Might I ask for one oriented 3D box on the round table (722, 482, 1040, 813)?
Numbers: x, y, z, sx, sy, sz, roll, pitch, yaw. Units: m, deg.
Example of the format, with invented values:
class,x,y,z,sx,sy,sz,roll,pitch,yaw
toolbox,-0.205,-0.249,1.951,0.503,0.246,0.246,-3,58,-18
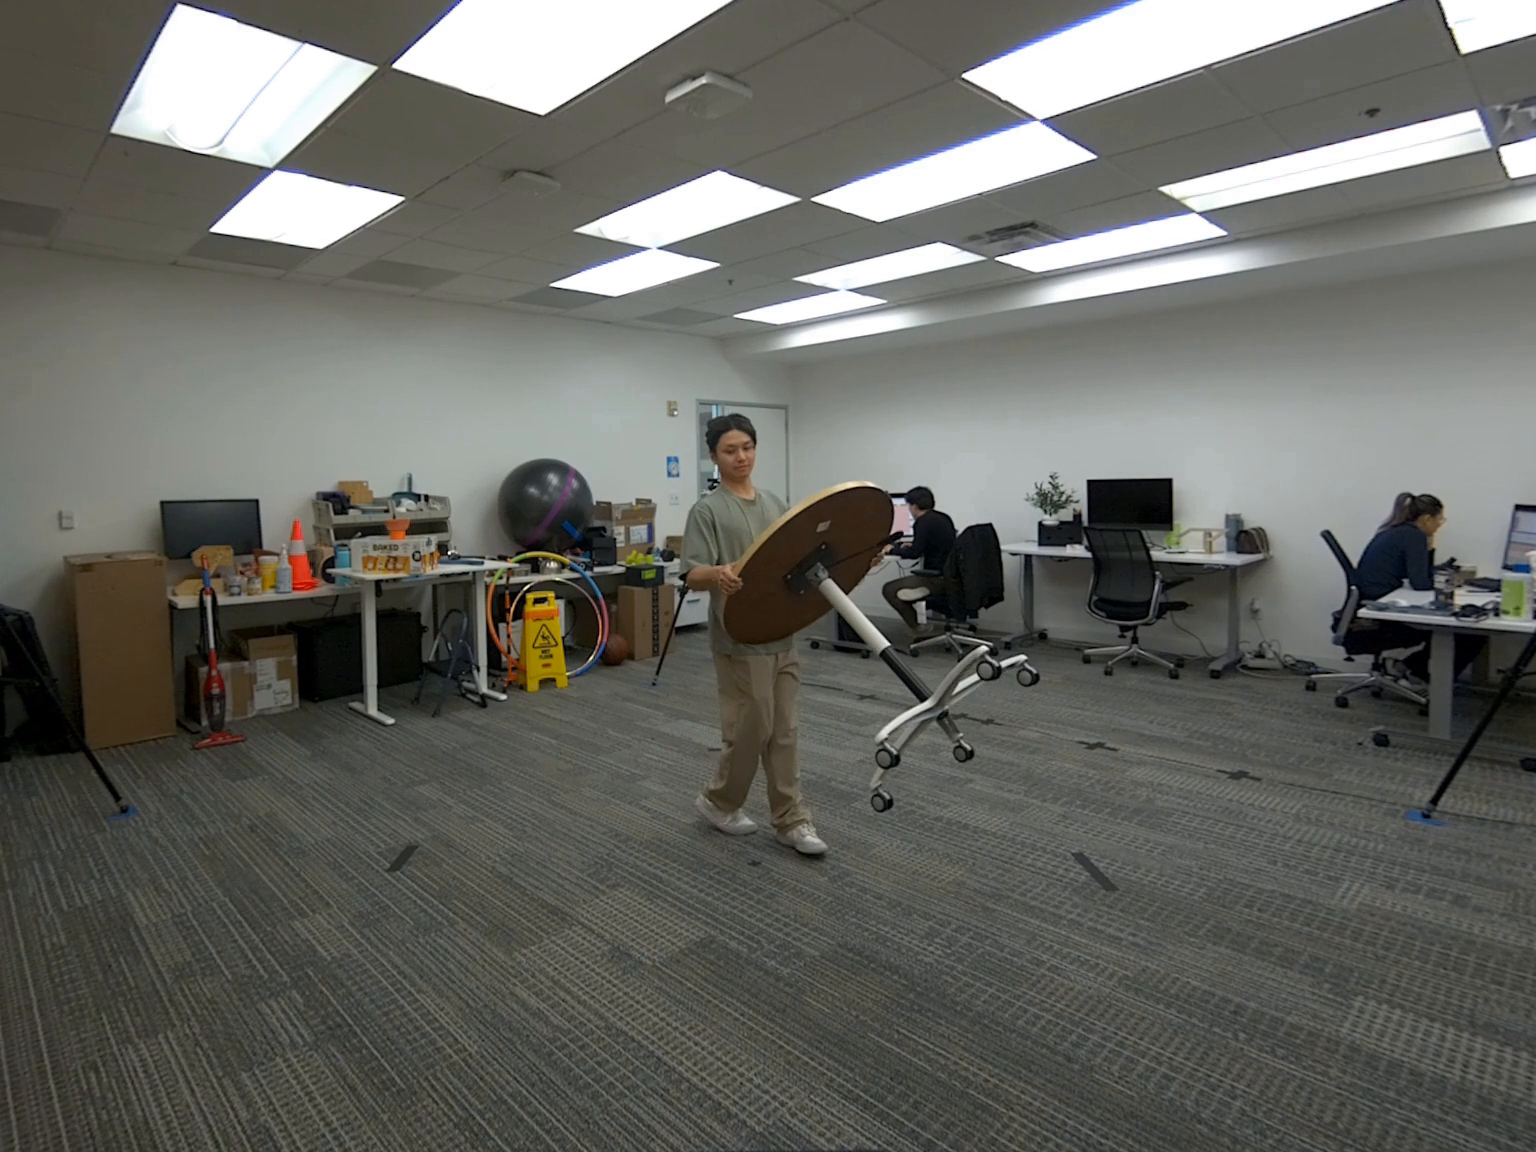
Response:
class,x,y,z,sx,sy,sz,roll,pitch,yaw
round table,0.366,0.233,2.882,0.764,0.778,0.815,-5,45,-44
